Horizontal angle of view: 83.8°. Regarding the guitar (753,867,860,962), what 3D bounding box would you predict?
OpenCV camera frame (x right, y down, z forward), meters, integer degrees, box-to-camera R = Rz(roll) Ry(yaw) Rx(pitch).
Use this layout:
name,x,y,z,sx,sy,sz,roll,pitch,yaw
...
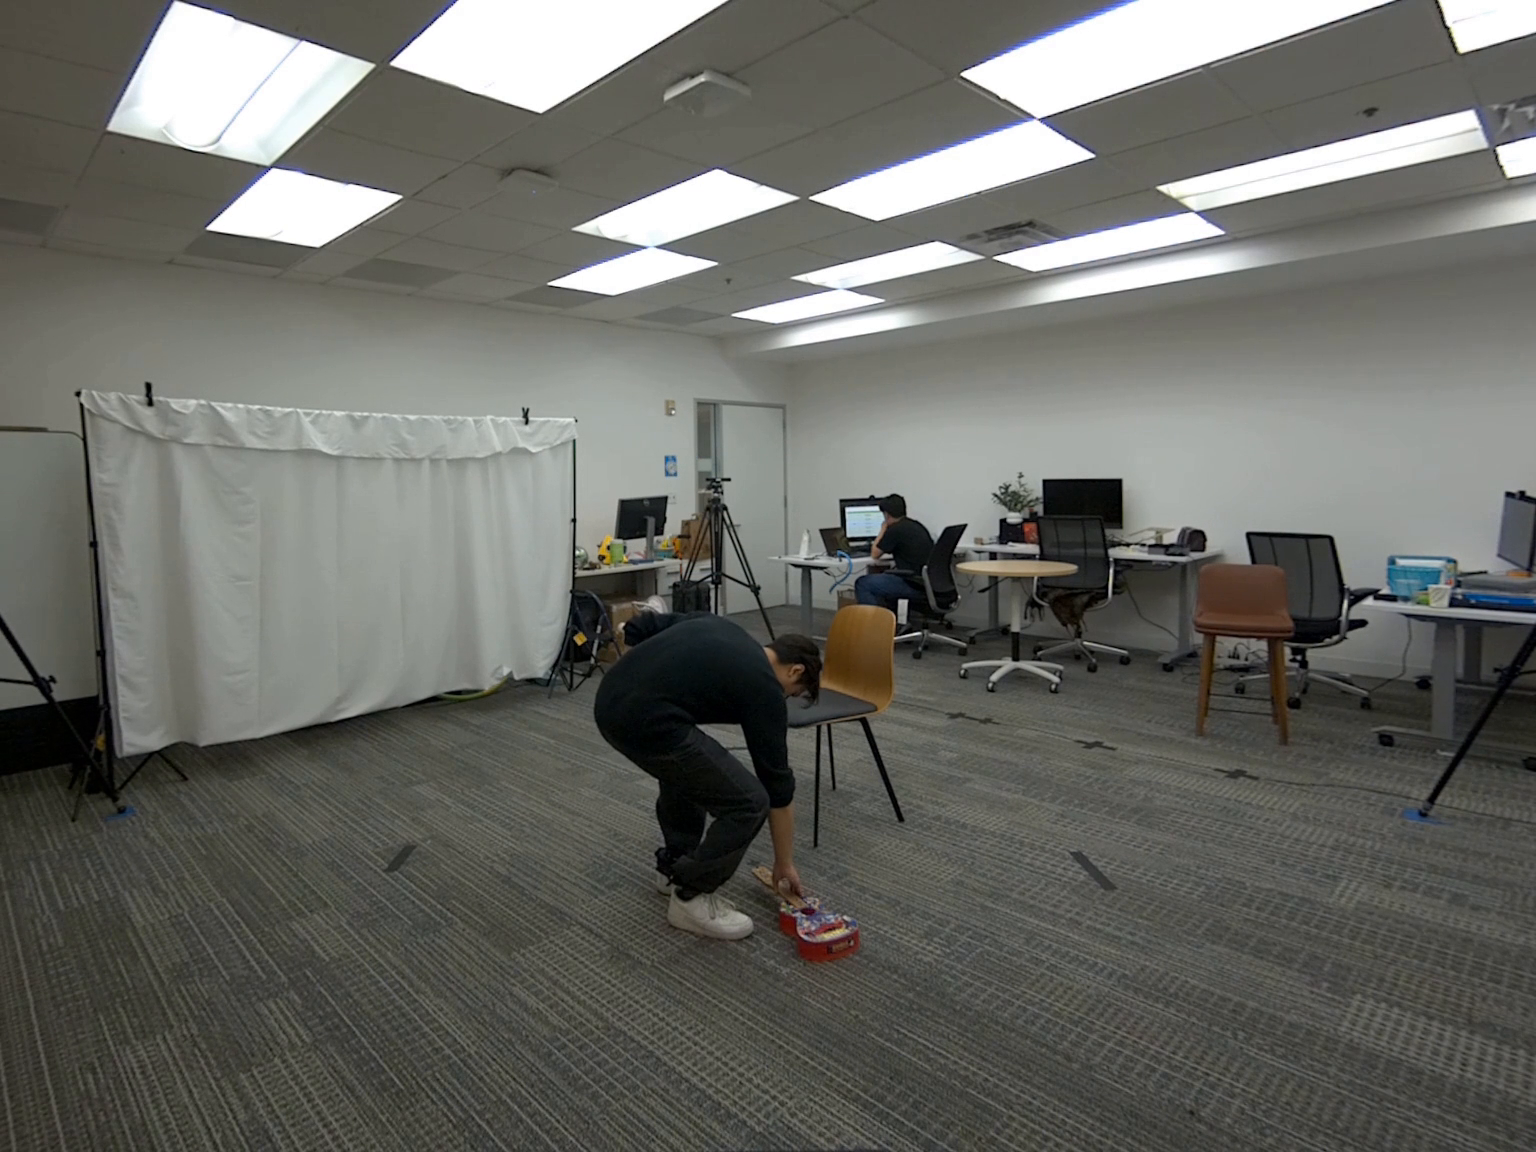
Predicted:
name,x,y,z,sx,sy,sz,roll,pitch,yaw
guitar,0.107,1.045,2.713,0.190,0.070,0.509,-3,8,-19
